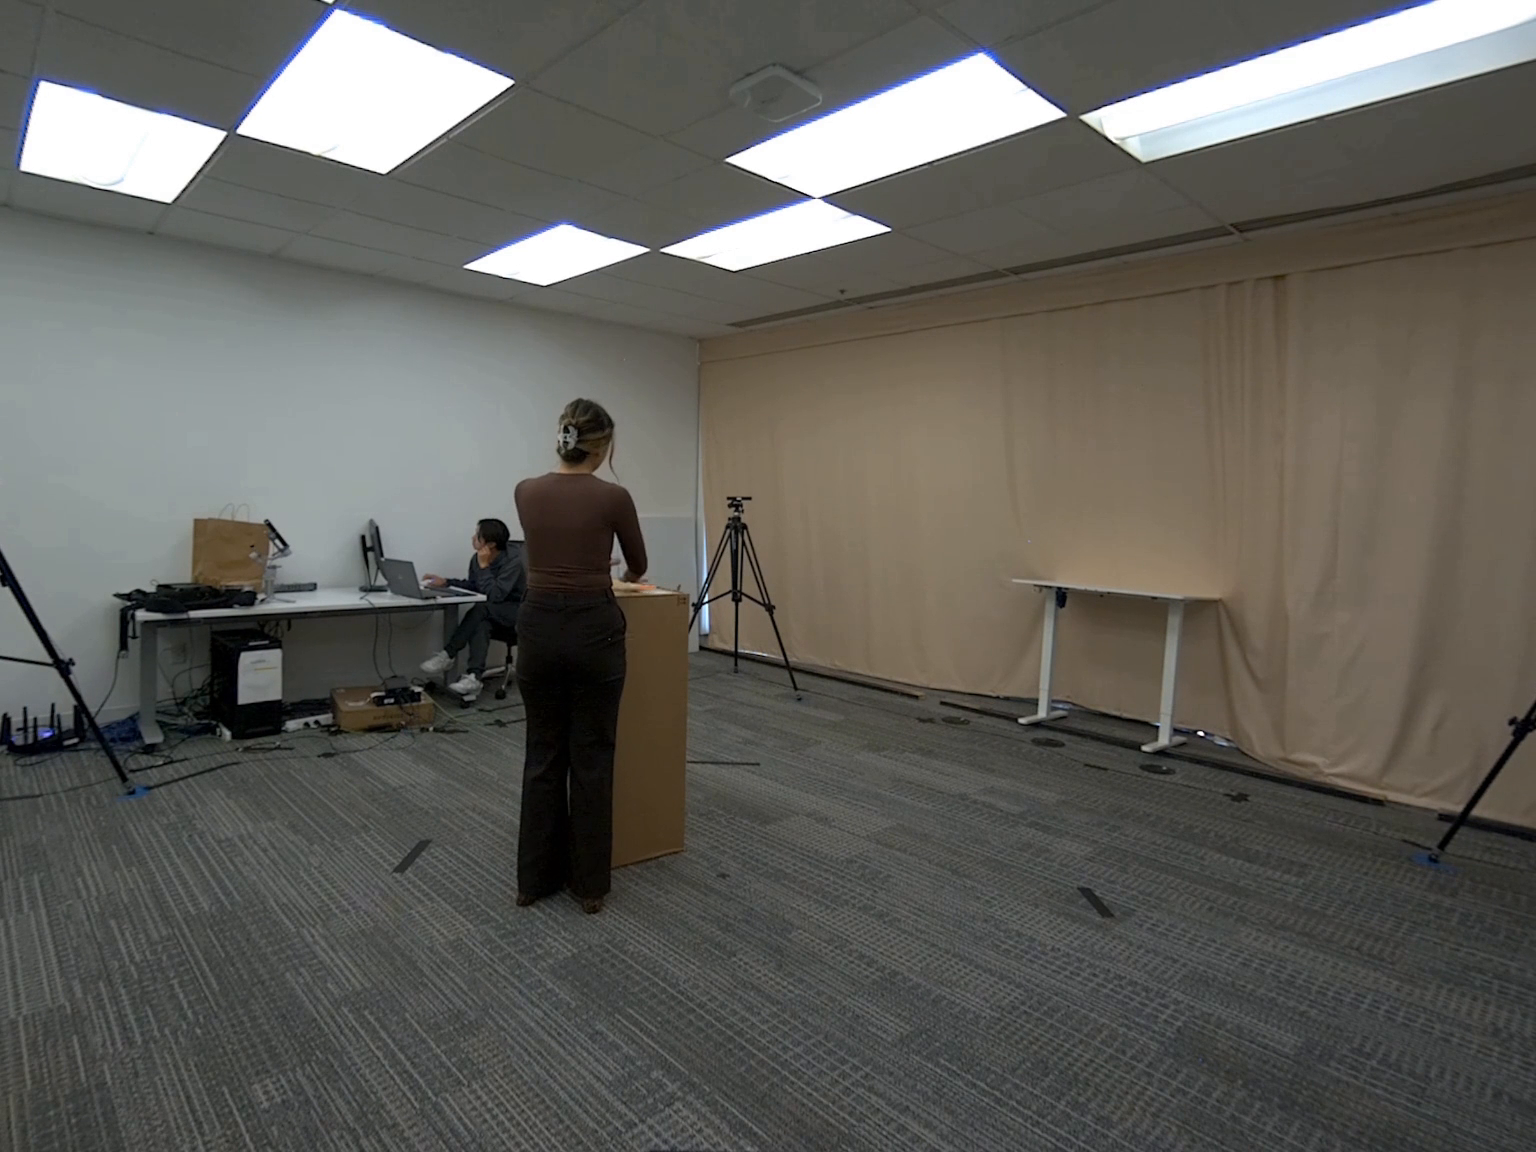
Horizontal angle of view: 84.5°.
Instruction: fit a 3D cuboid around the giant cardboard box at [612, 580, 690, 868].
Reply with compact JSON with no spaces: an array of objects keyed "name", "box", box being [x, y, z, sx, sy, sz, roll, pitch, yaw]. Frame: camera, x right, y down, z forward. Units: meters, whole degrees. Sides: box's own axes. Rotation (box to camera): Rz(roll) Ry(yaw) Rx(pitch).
[{"name":"giant cardboard box","box":[-0.660,0.557,3.408,0.437,1.025,0.598,0,4,-36]}]
